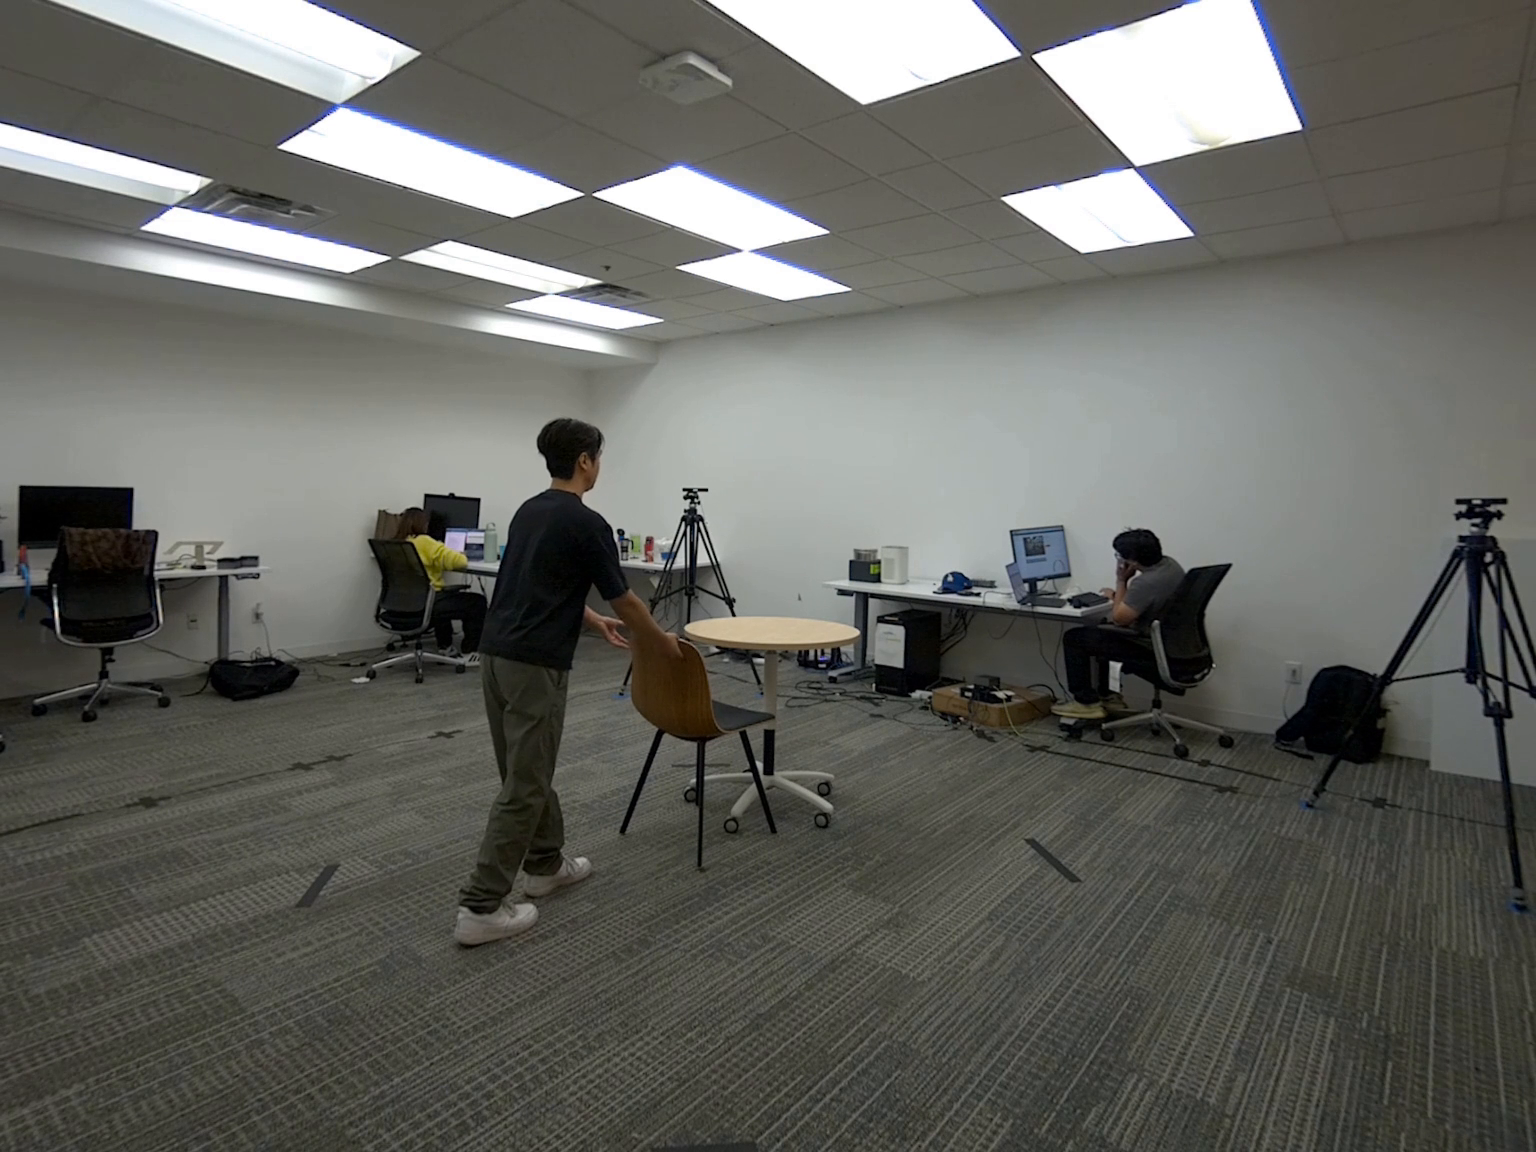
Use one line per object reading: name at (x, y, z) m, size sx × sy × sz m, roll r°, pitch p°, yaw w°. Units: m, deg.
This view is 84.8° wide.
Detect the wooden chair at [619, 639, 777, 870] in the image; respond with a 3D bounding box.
wooden chair at (-0.278, 0.613, 3.411) m, size 0.494 × 0.872 × 0.509 m, roll 4°, pitch 8°, yaw 41°
